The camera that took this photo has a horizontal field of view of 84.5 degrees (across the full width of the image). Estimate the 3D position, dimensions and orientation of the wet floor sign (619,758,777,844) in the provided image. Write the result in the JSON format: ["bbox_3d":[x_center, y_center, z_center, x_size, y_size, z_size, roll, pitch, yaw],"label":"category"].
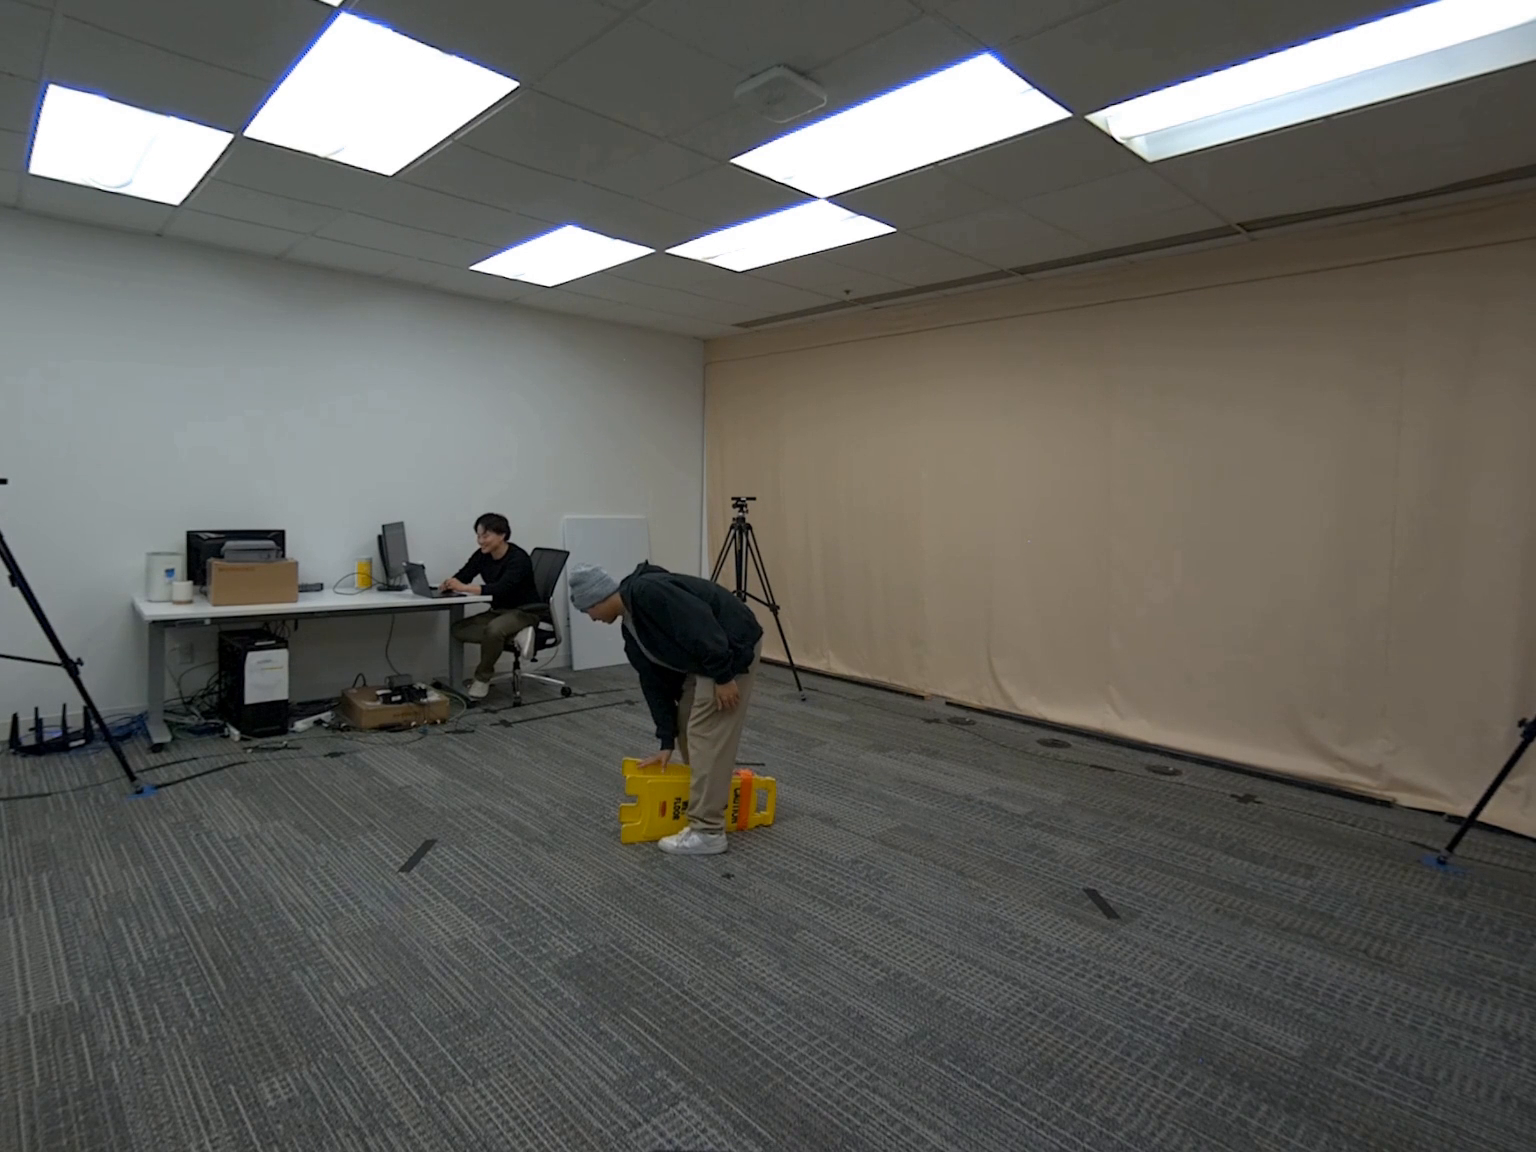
[{"bbox_3d":[-0.298,0.939,3.546,0.640,0.281,0.293,4,5,-11],"label":"wet floor sign"}]
